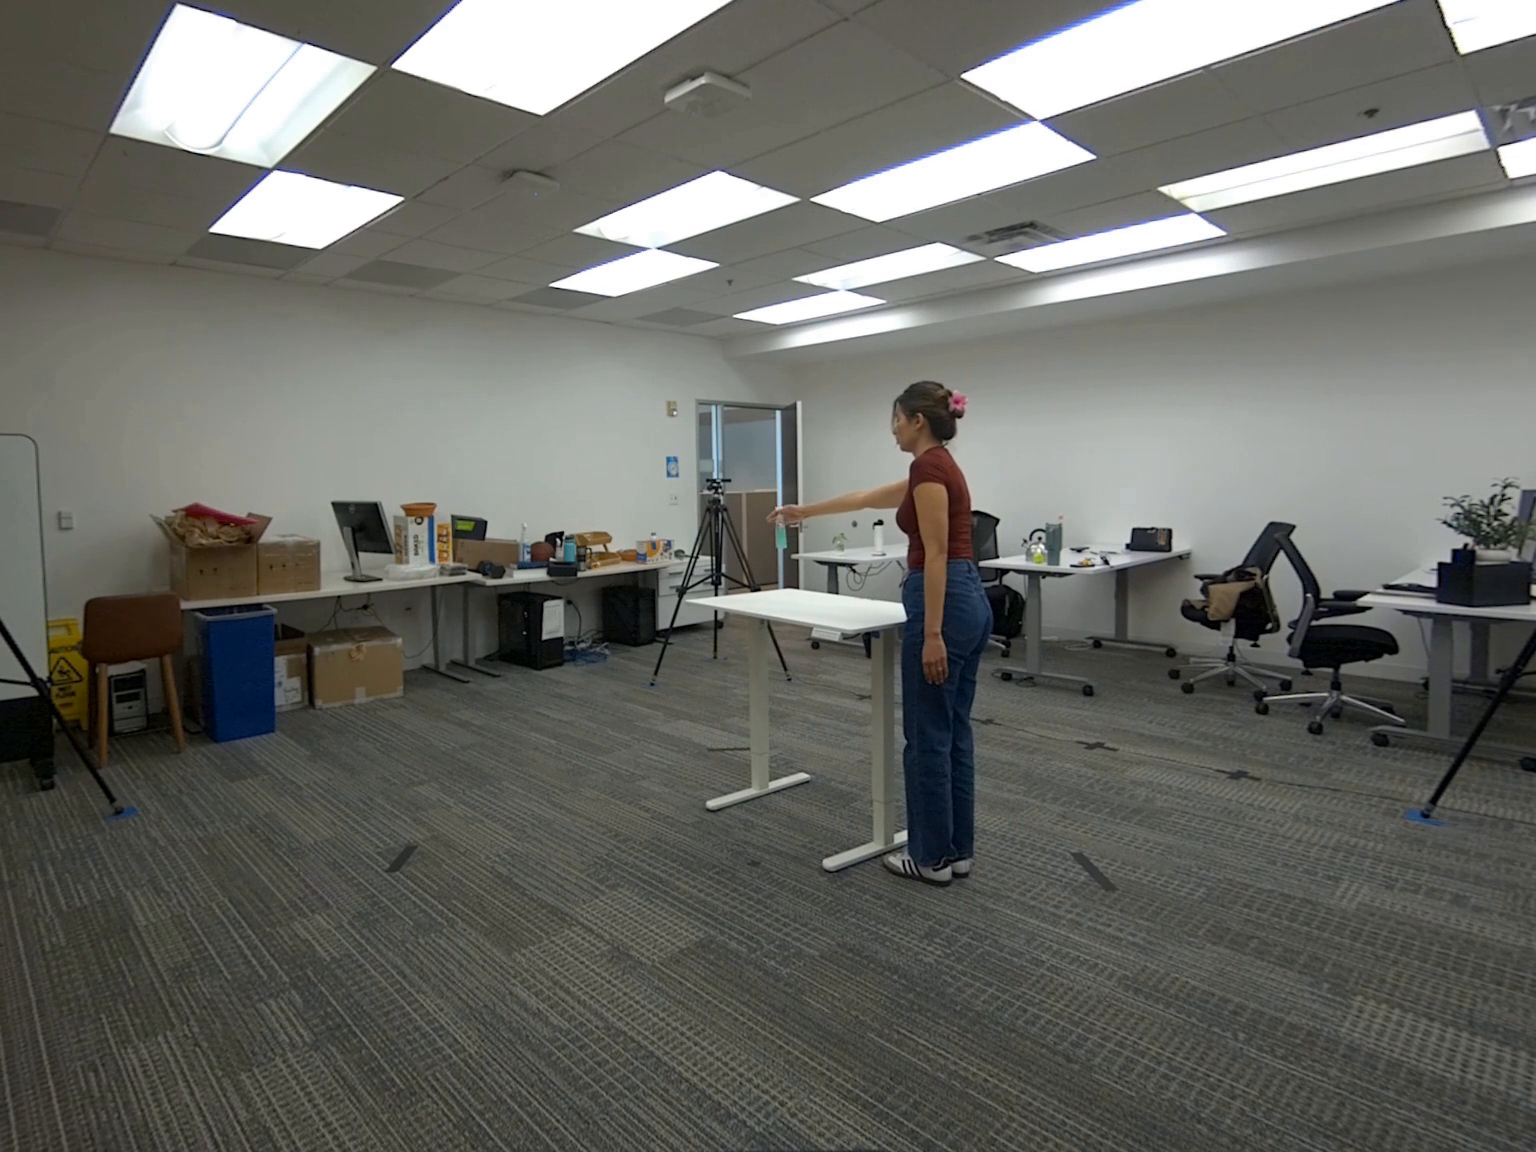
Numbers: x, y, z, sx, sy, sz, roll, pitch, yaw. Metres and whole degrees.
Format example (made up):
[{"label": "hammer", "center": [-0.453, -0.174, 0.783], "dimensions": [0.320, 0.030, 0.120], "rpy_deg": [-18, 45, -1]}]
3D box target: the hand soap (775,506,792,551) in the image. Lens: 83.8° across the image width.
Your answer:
[{"label": "hand soap", "center": [0.059, -0.195, 3.492], "dimensions": [0.043, 0.167, 0.085], "rpy_deg": [-4, 7, -7]}]
